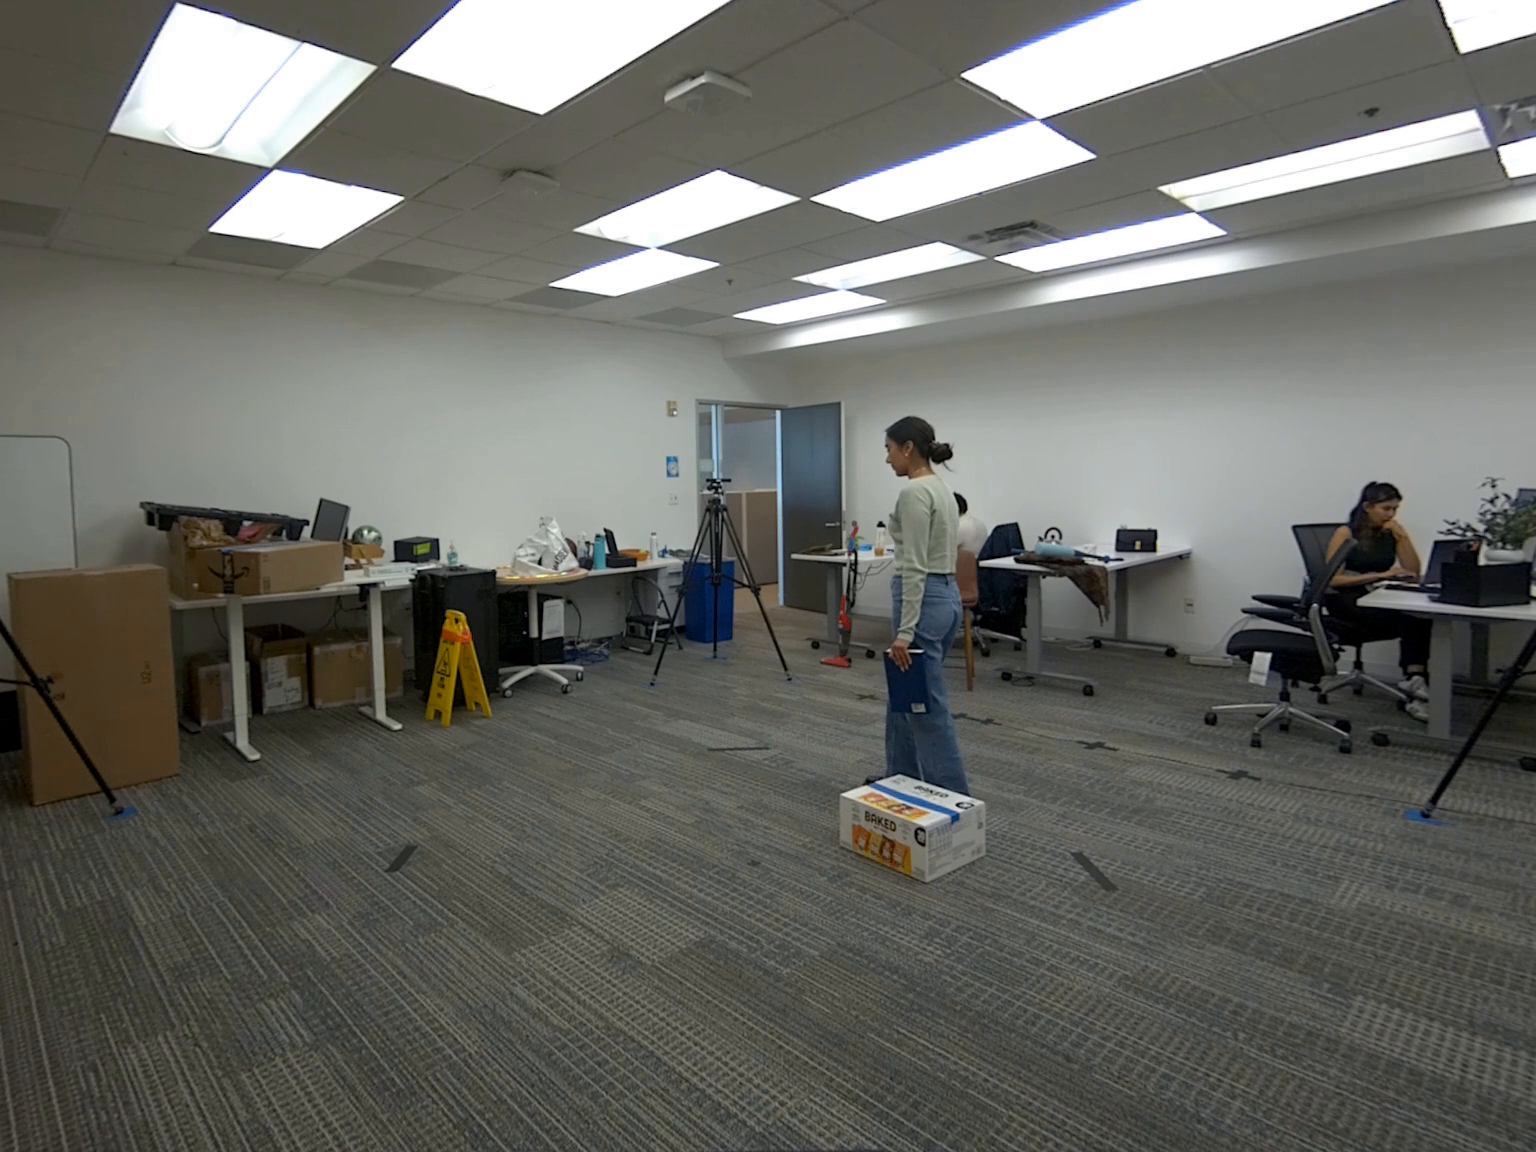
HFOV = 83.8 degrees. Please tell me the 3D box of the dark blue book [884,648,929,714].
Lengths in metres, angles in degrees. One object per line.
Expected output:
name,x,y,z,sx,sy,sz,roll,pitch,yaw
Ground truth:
dark blue book,0.537,0.403,3.292,0.168,0.243,0.044,-2,9,37
